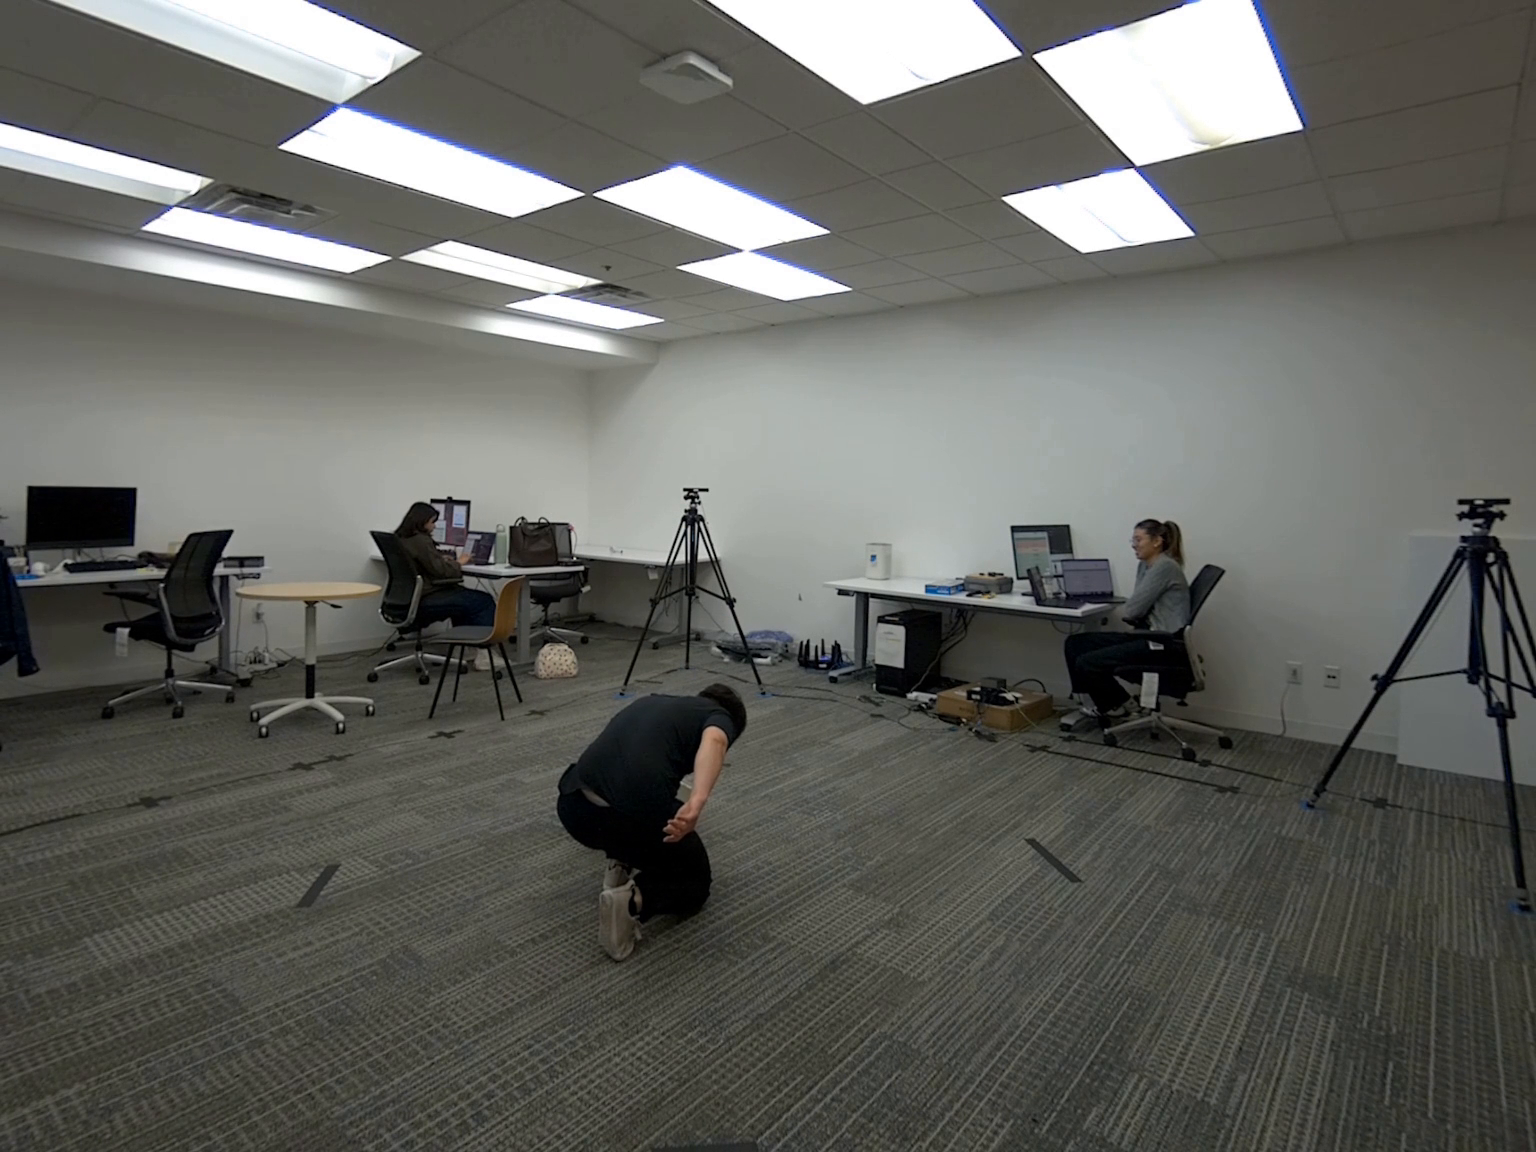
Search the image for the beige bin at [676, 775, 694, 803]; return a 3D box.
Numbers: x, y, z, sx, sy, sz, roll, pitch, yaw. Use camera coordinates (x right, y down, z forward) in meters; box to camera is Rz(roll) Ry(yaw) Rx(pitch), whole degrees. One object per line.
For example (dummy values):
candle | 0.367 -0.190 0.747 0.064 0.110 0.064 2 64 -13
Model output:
beige bin | -0.569 0.932 3.479 0.410 0.188 0.390 -4 6 -37
